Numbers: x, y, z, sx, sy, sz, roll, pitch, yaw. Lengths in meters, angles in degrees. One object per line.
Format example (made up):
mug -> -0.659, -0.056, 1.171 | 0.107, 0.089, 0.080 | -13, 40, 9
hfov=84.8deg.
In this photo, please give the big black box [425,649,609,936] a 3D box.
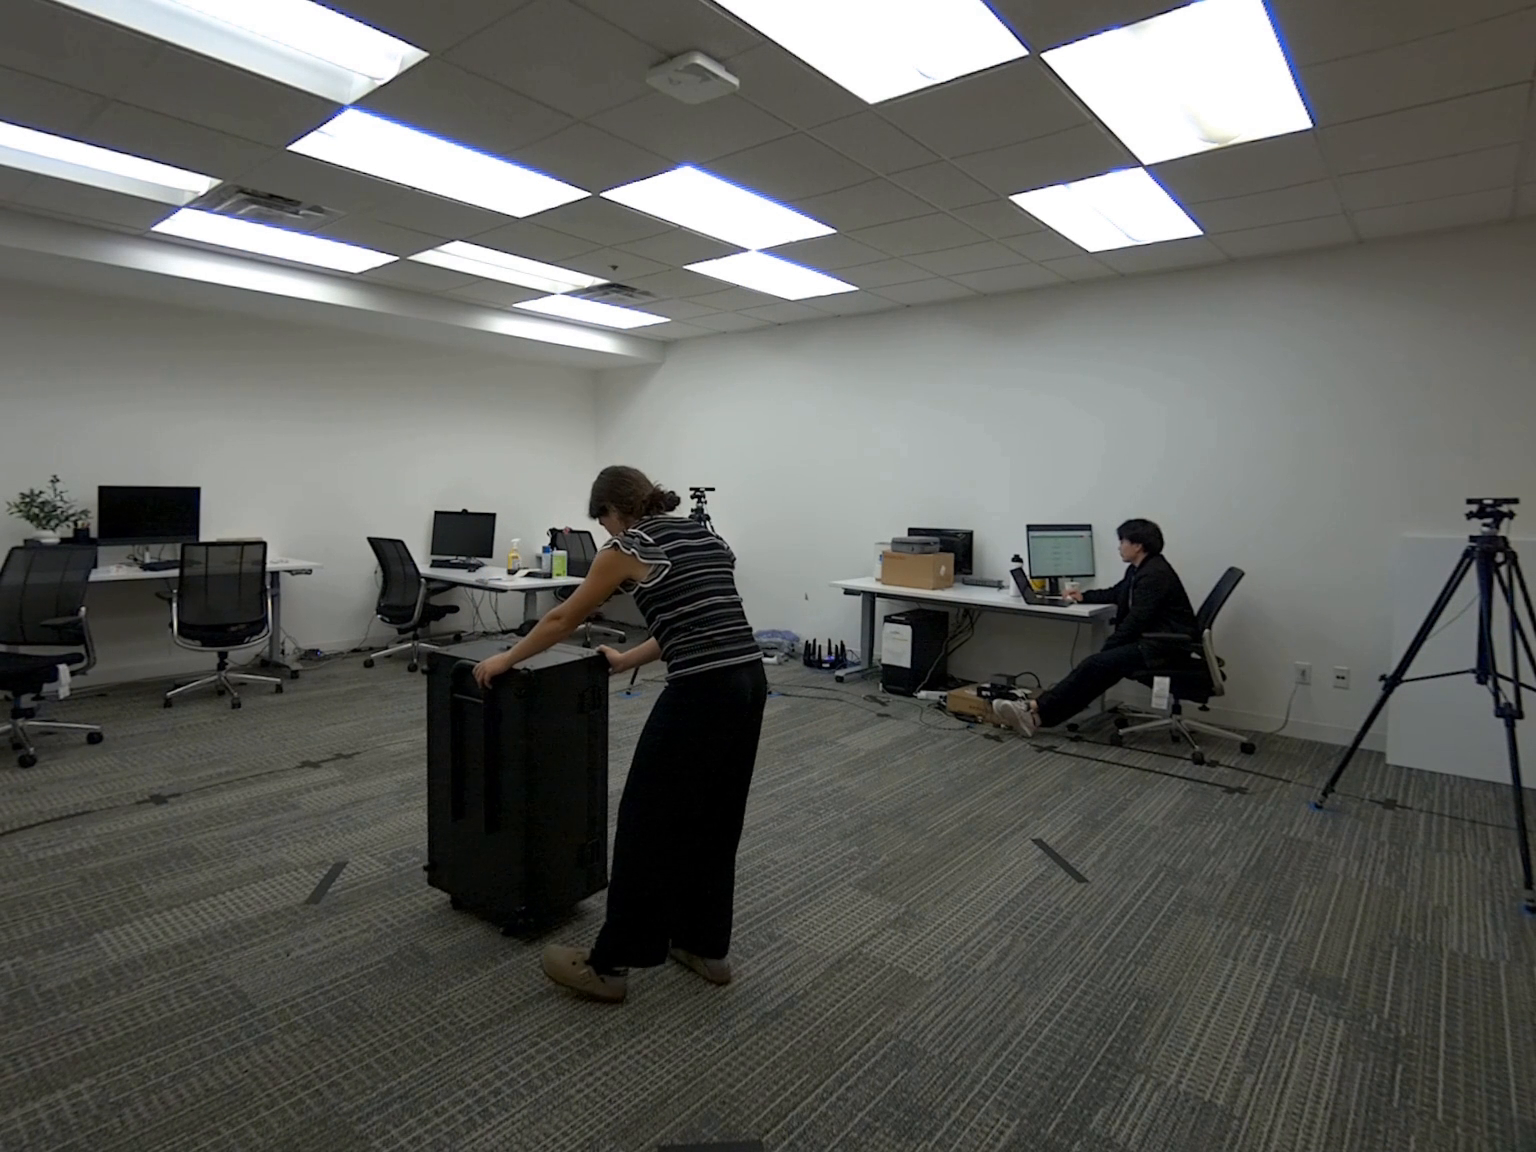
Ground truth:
big black box -> -0.828, 0.668, 2.765 | 0.538, 0.858, 0.385 | 4, 6, 35
